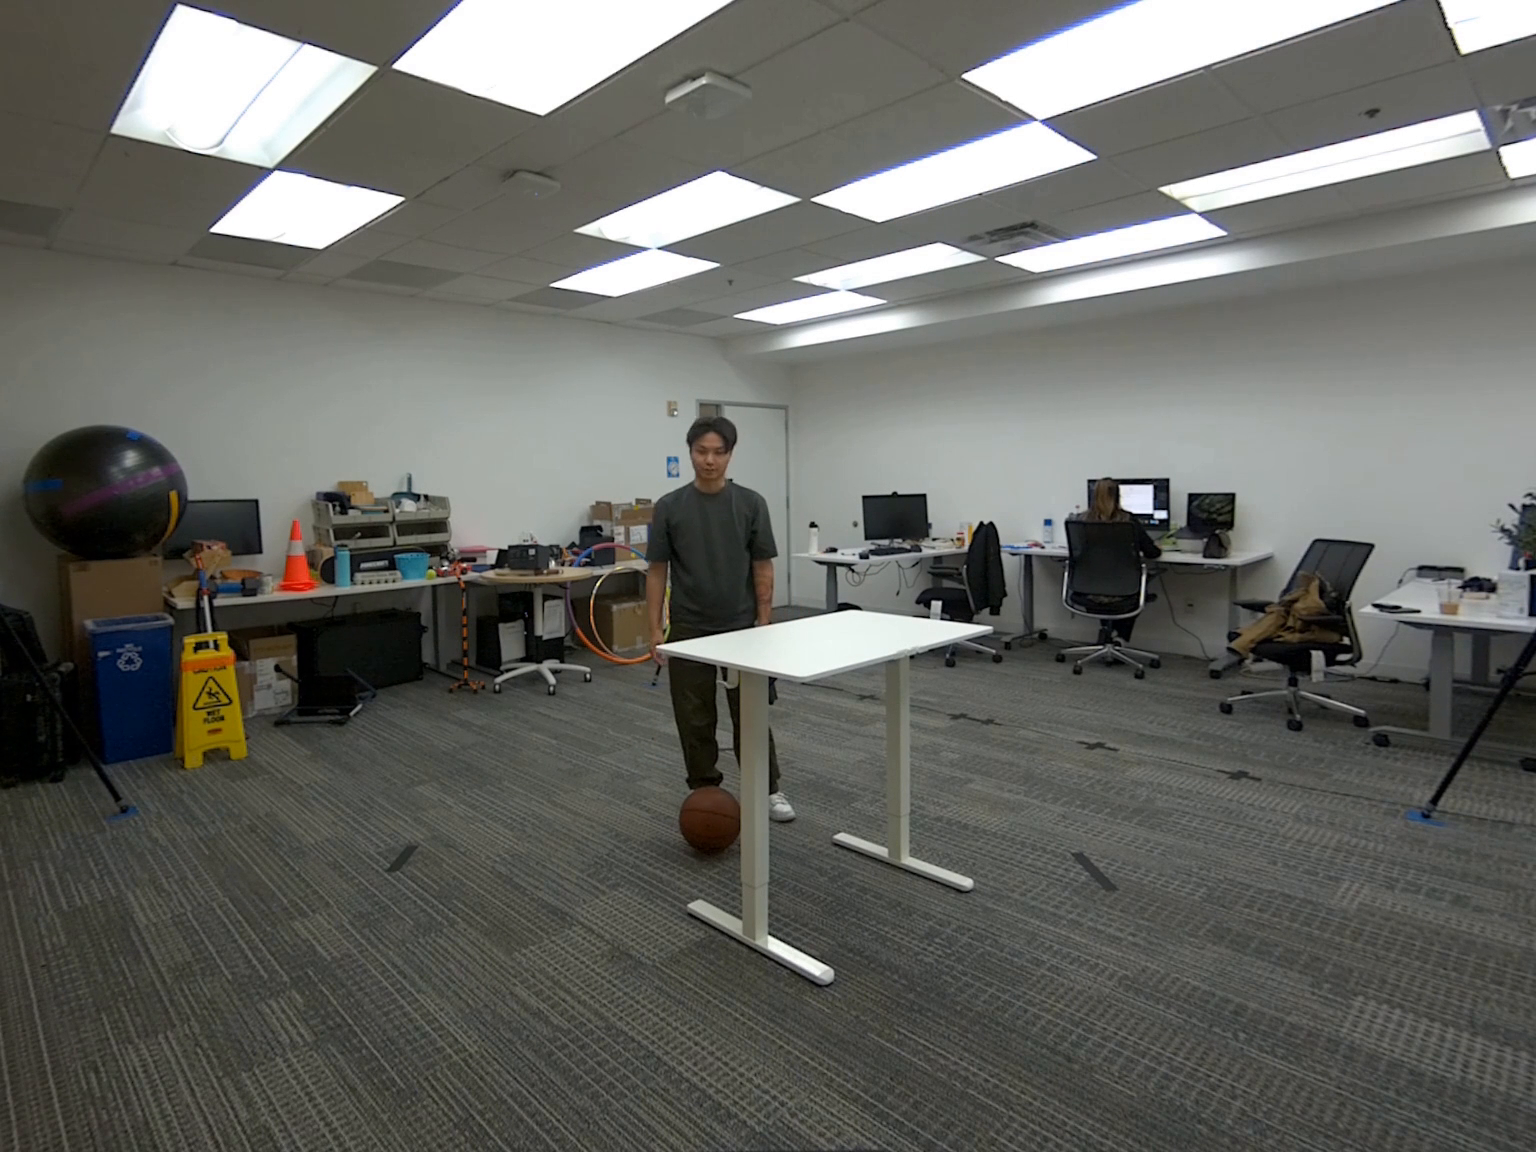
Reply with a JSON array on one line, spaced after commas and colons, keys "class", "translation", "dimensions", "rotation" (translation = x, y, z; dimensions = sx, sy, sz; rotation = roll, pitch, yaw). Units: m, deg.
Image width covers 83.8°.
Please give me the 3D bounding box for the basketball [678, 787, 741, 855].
[{"class": "basketball", "translation": [-0.219, 0.917, 3.218], "dimensions": [0.236, 0.235, 0.237], "rotation": [-1, 5, -2]}]
